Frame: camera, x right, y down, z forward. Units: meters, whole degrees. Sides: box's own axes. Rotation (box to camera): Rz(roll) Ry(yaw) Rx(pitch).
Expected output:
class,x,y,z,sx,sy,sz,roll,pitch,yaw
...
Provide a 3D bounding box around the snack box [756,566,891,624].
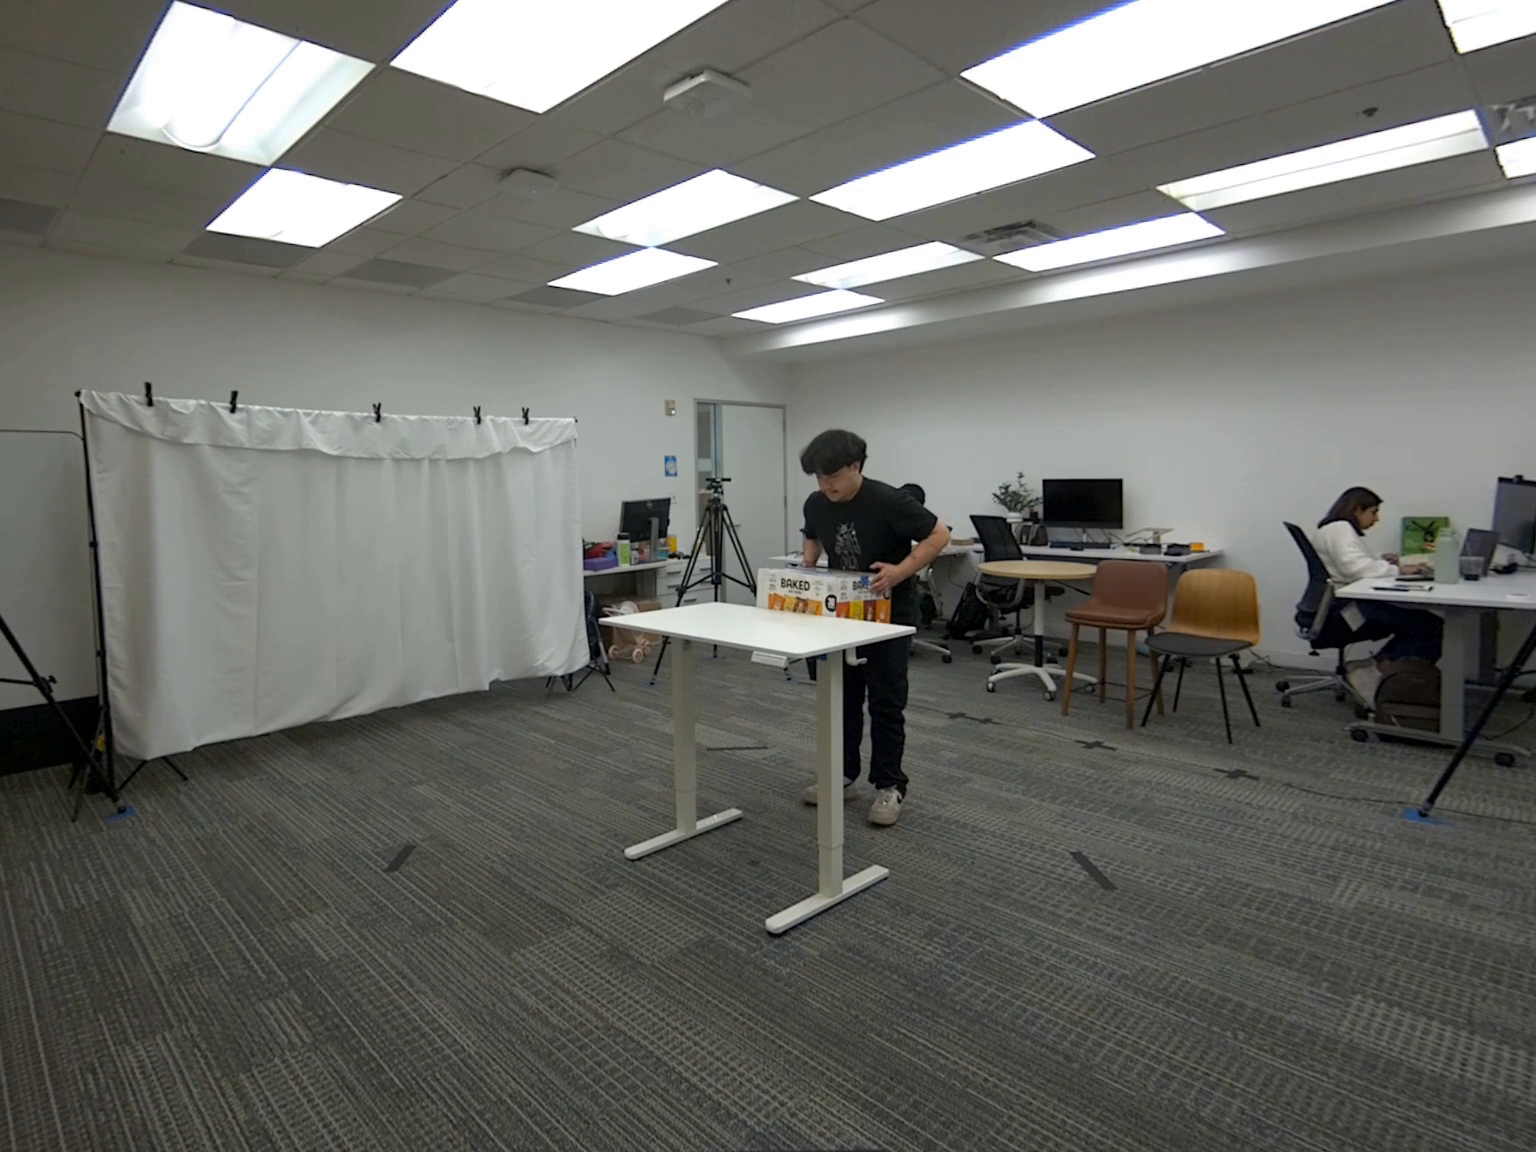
class,x,y,z,sx,sy,sz,roll,pitch,yaw
snack box,0.221,0.086,3.393,0.330,0.205,0.418,-1,5,-45
